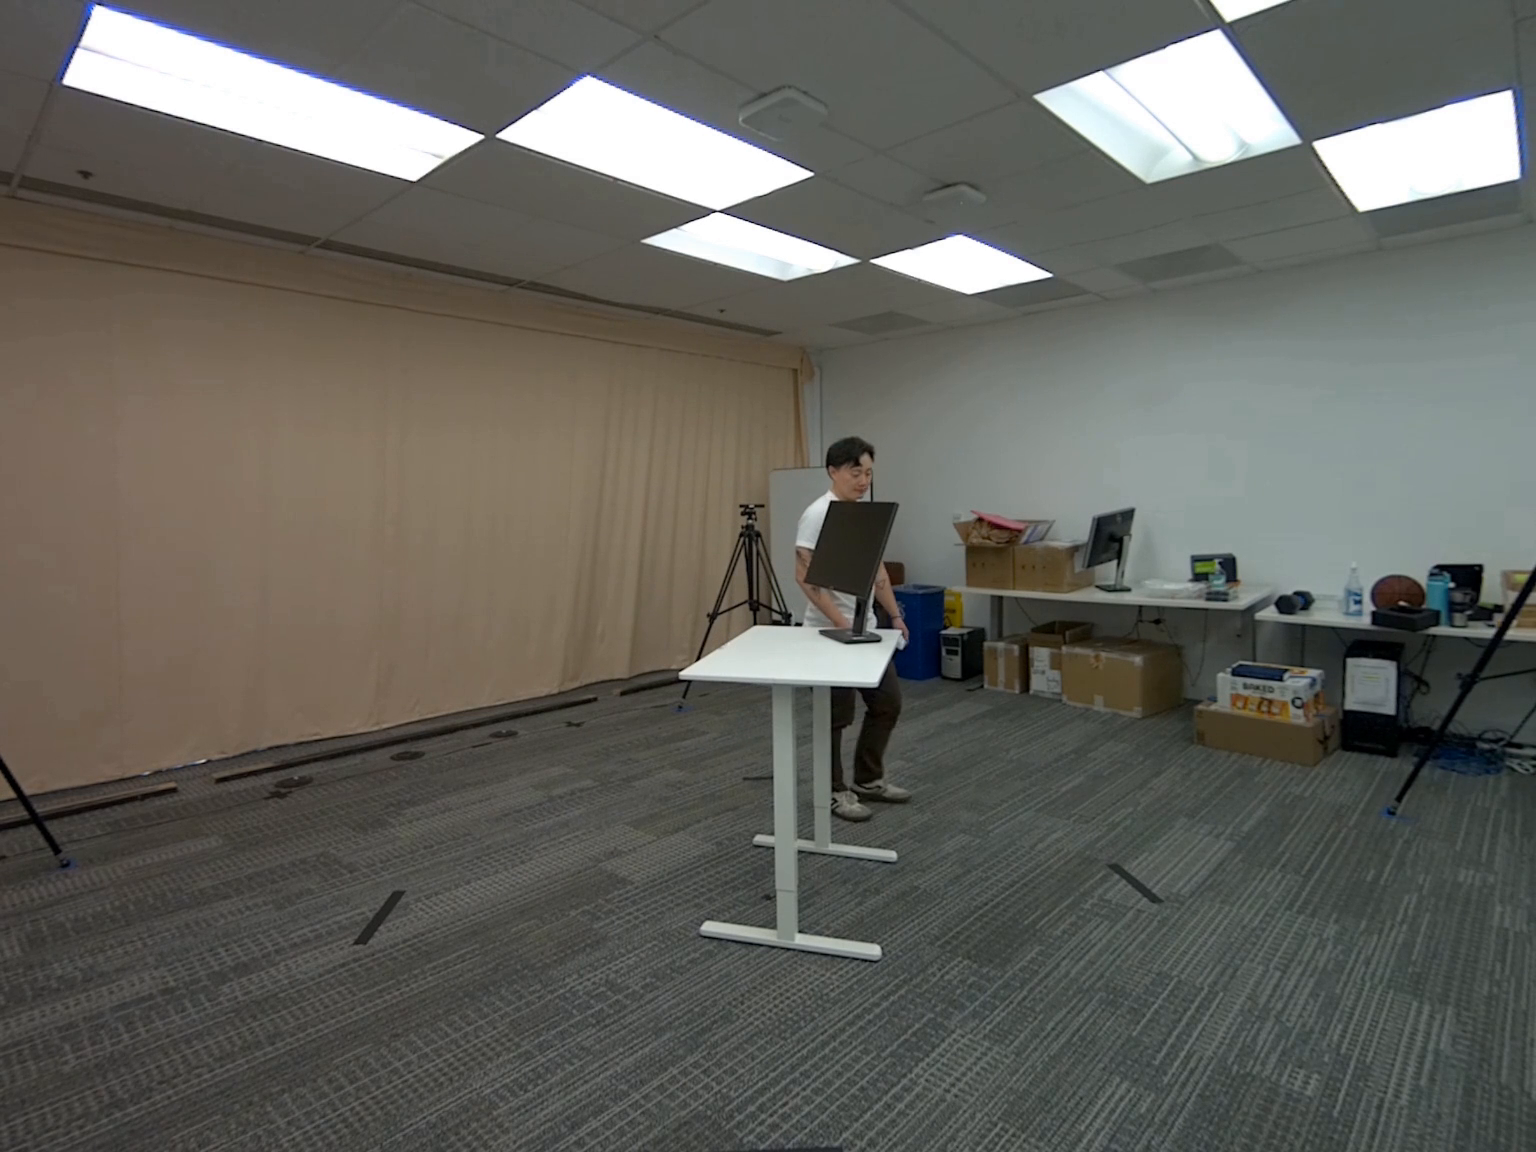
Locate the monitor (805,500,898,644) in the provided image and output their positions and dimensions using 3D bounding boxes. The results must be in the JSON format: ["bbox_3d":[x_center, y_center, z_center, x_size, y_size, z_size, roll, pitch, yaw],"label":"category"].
[{"bbox_3d":[0.333,-0.022,3.177,0.183,0.521,0.552,1,4,-23],"label":"monitor"}]
